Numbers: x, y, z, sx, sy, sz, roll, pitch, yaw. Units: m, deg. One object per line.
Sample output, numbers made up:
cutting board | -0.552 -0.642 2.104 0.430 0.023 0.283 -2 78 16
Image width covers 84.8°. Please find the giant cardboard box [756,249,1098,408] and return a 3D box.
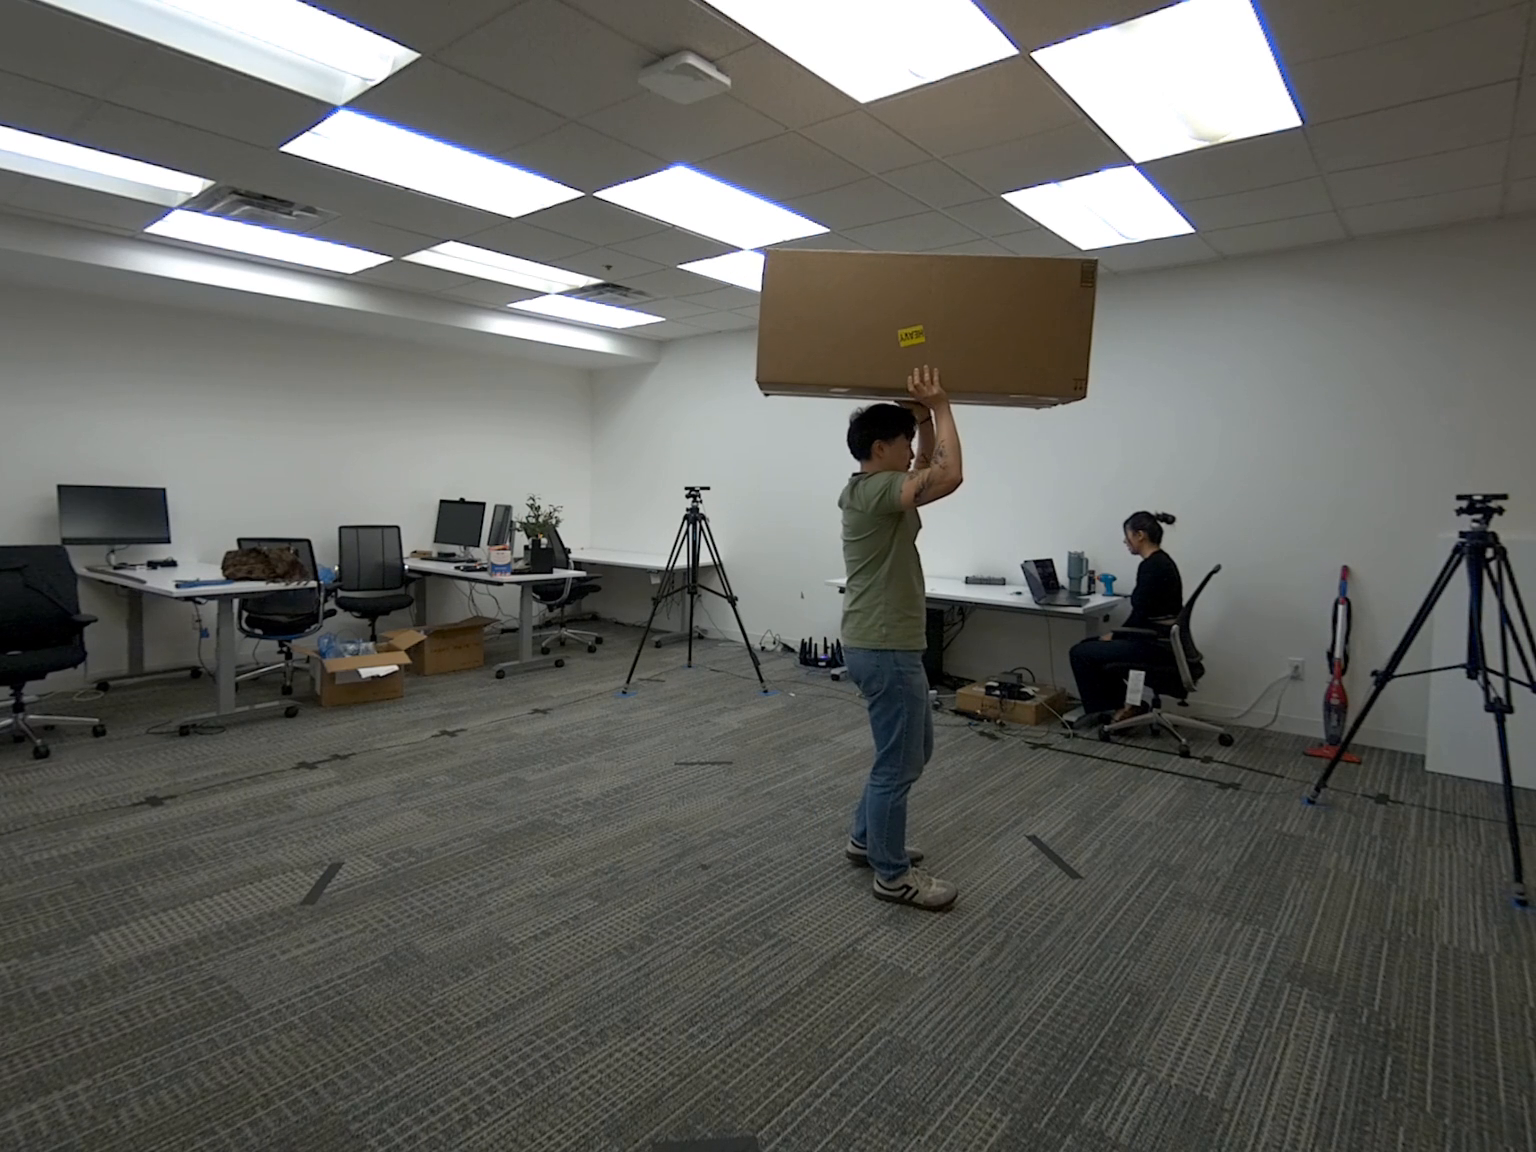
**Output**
giant cardboard box | 0.488 -0.828 2.927 1.032 0.424 0.577 4 7 5
